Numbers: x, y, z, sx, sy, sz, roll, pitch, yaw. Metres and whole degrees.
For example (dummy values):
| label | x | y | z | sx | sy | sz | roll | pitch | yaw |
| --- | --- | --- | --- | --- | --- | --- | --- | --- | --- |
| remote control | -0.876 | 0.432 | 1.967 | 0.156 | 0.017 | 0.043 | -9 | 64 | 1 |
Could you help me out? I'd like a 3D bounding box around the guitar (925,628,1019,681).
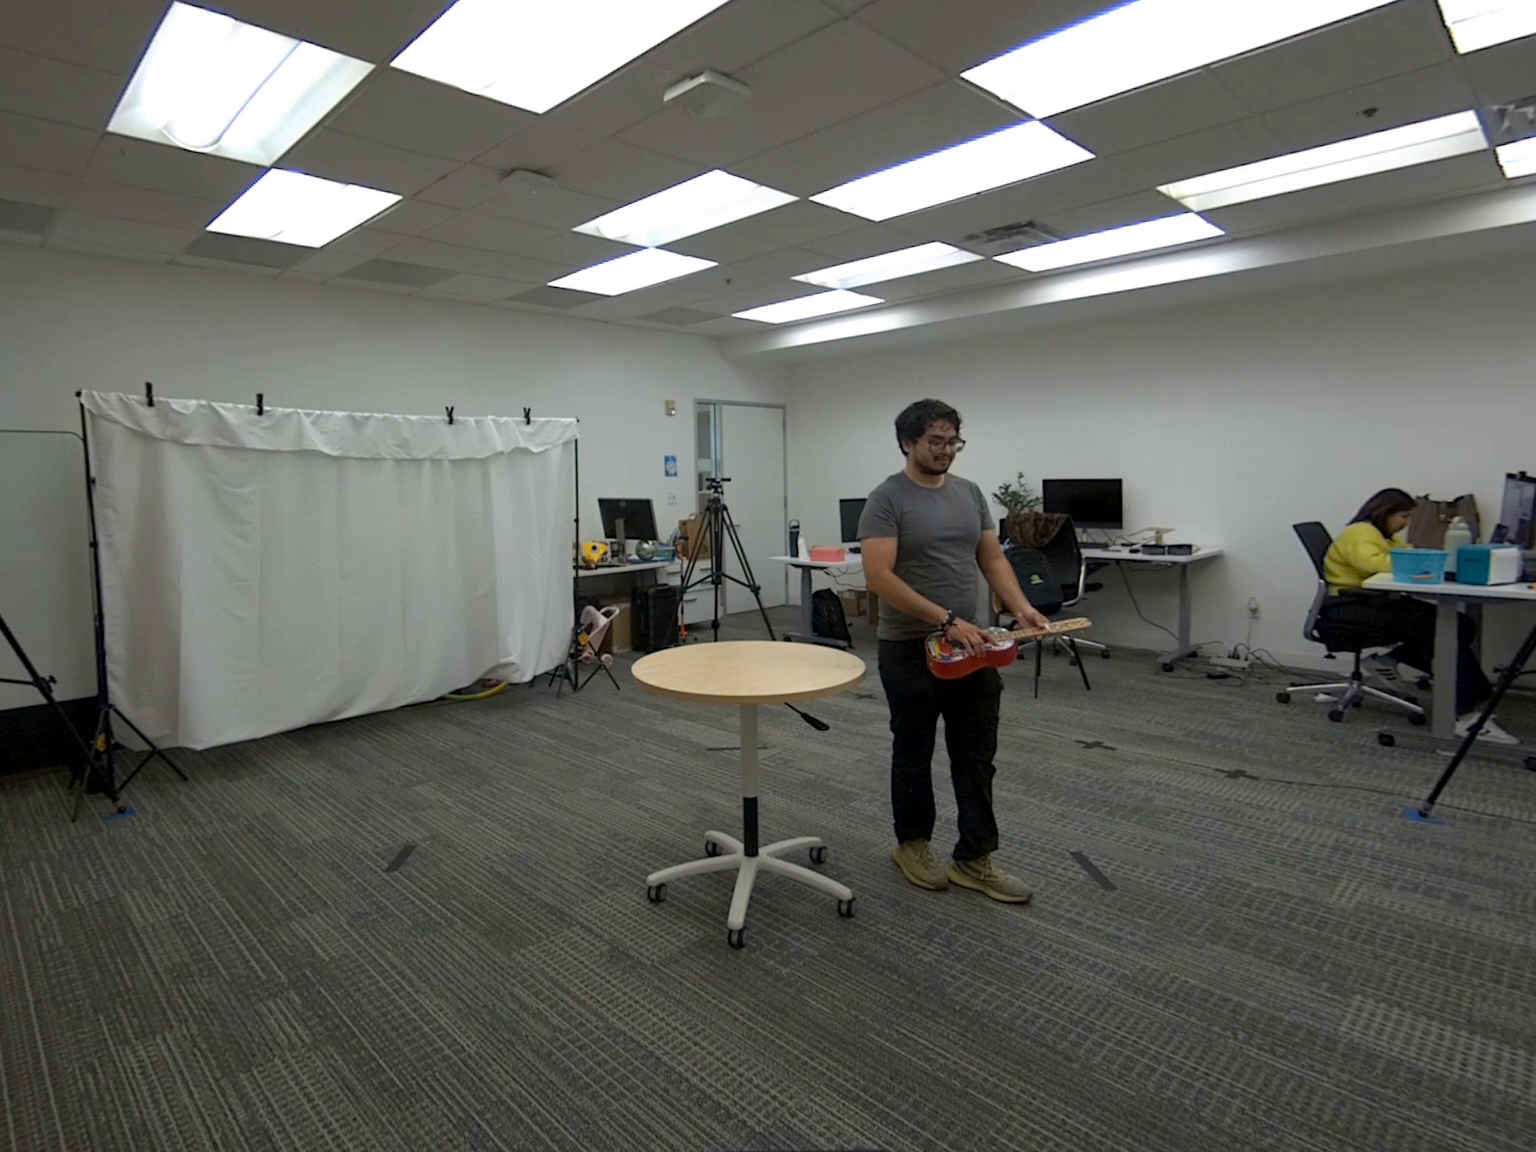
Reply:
| label | x | y | z | sx | sy | sz | roll | pitch | yaw |
| --- | --- | --- | --- | --- | --- | --- | --- | --- | --- |
| guitar | 0.727 | 0.215 | 2.612 | 0.504 | 0.069 | 0.194 | -6 | 19 | 15 |
